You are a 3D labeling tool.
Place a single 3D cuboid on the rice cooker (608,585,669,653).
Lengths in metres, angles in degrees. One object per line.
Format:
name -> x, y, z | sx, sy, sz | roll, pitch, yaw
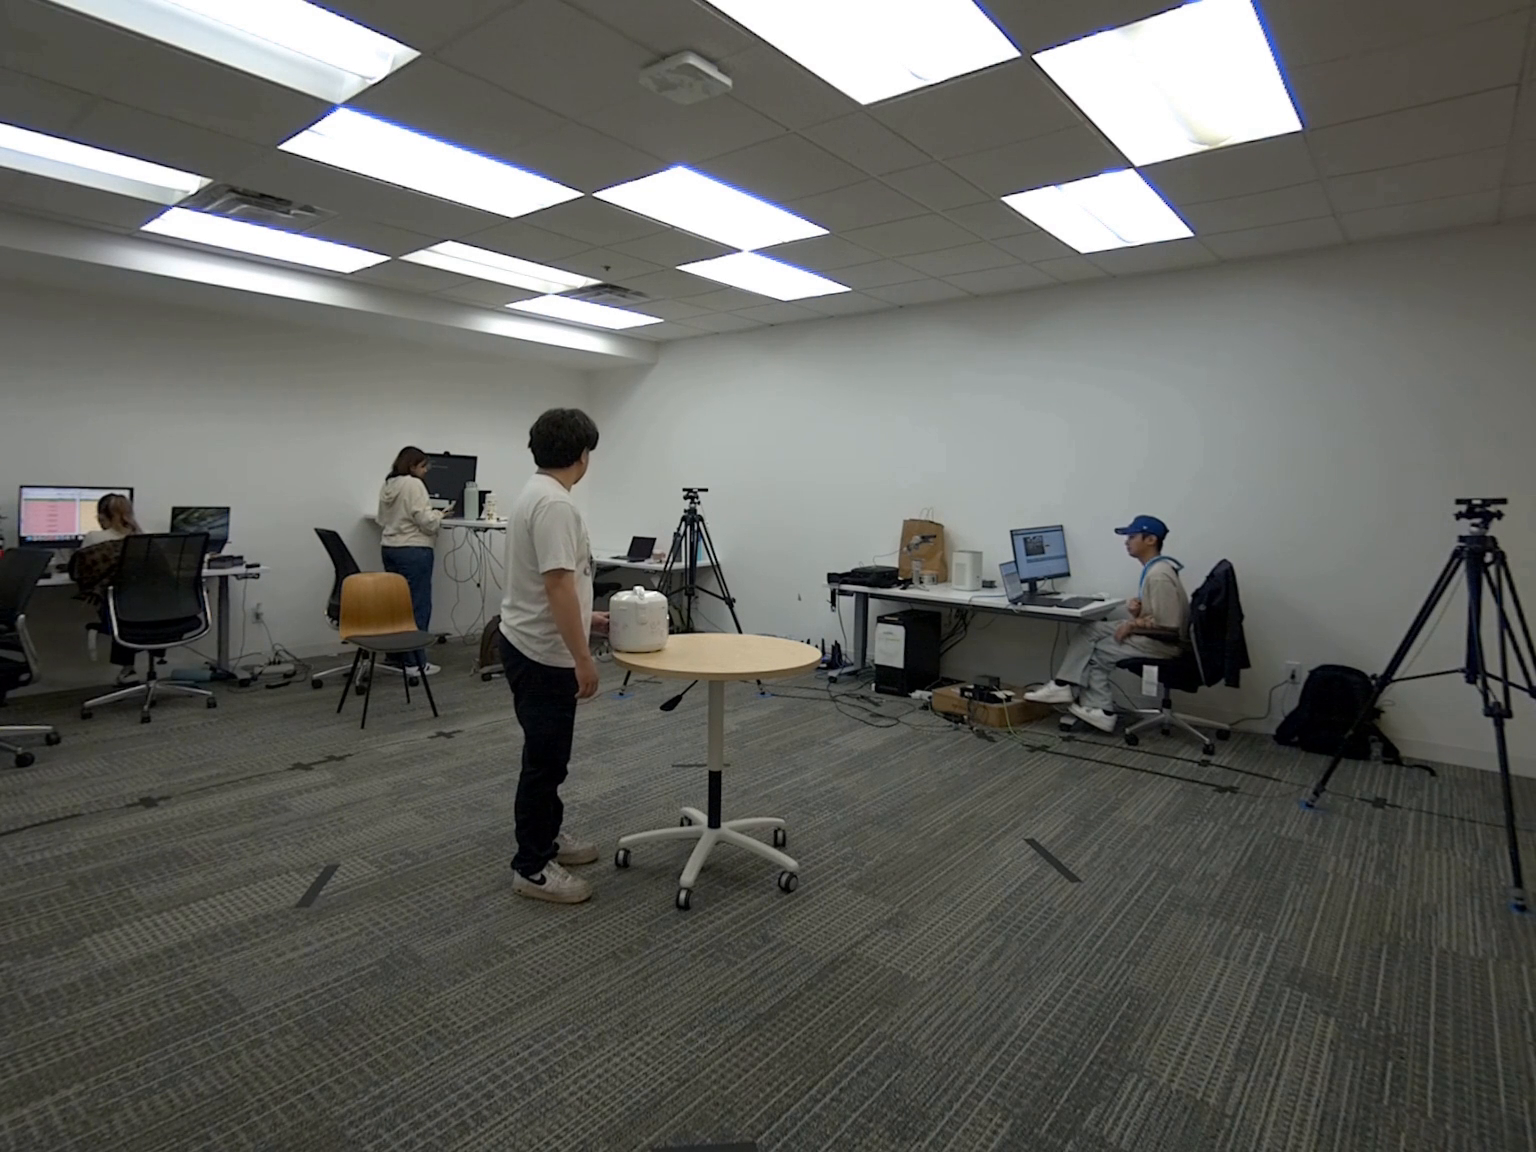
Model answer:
rice cooker -> -0.486, 0.155, 3.130 | 0.215, 0.232, 0.224 | -1, 5, -13
